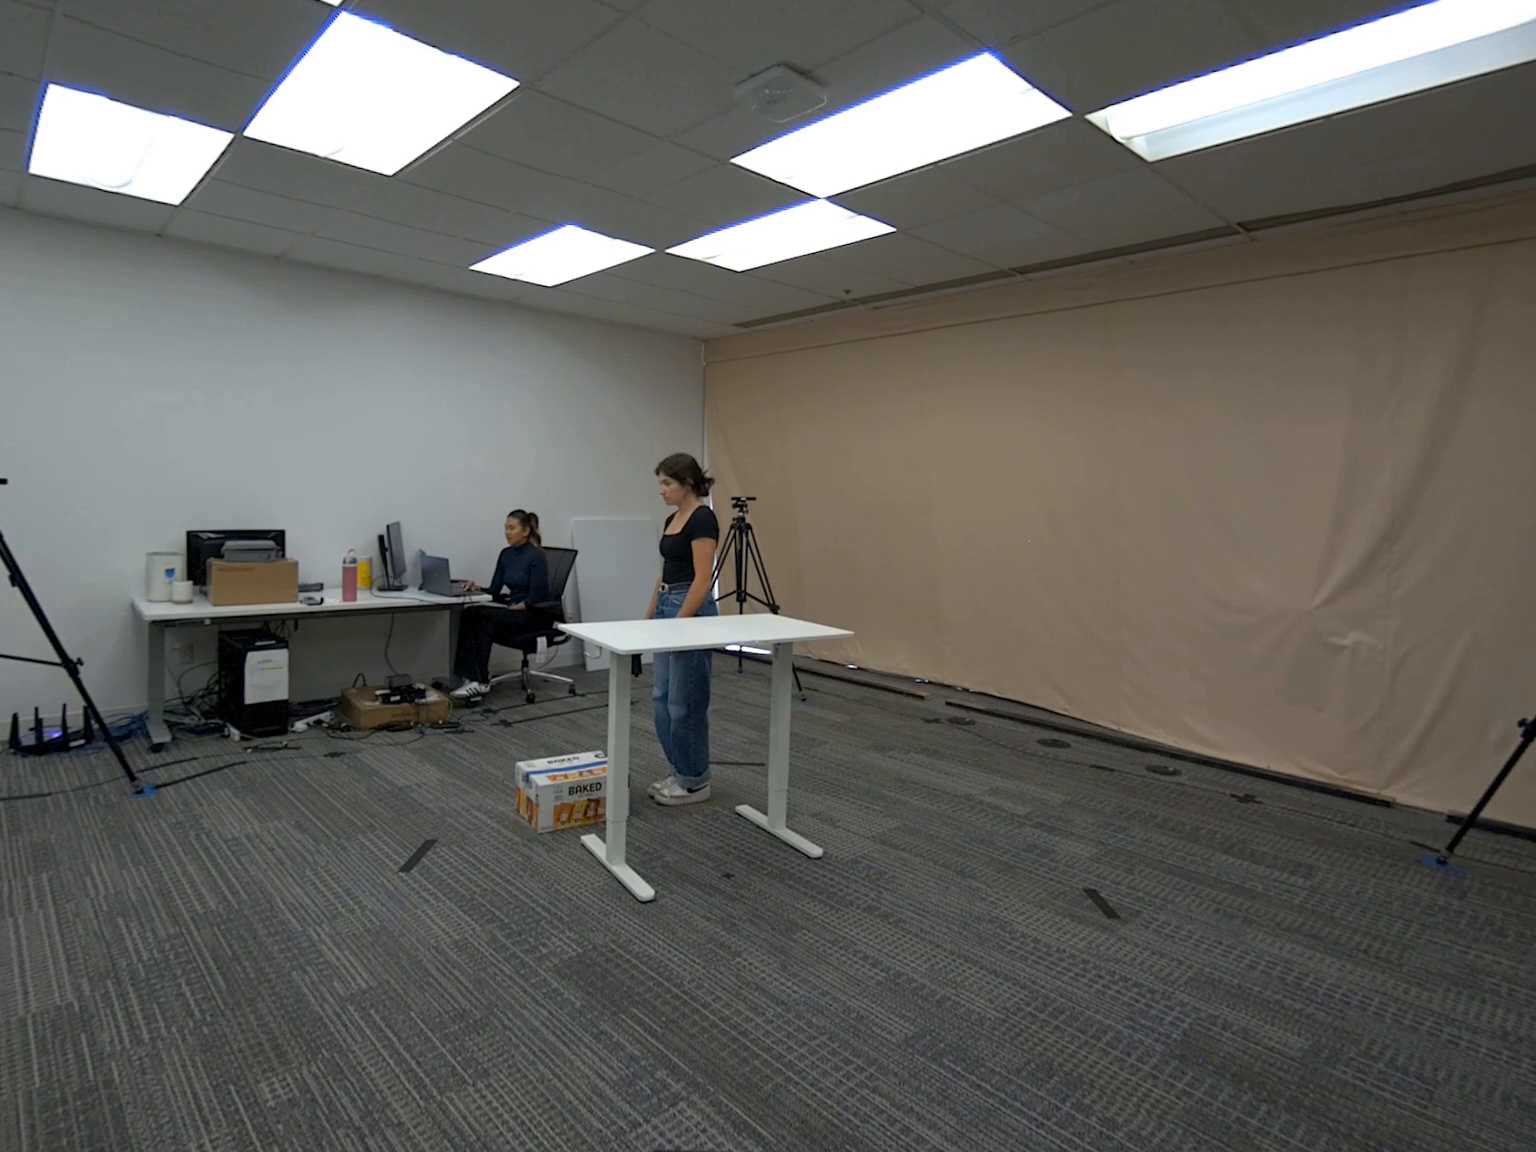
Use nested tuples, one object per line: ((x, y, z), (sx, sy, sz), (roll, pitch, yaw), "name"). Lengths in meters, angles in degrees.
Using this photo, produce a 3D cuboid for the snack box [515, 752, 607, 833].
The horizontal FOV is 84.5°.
((-0.873, 0.939, 3.689), (0.397, 0.205, 0.348), (-2, 5, -32), "snack box")
